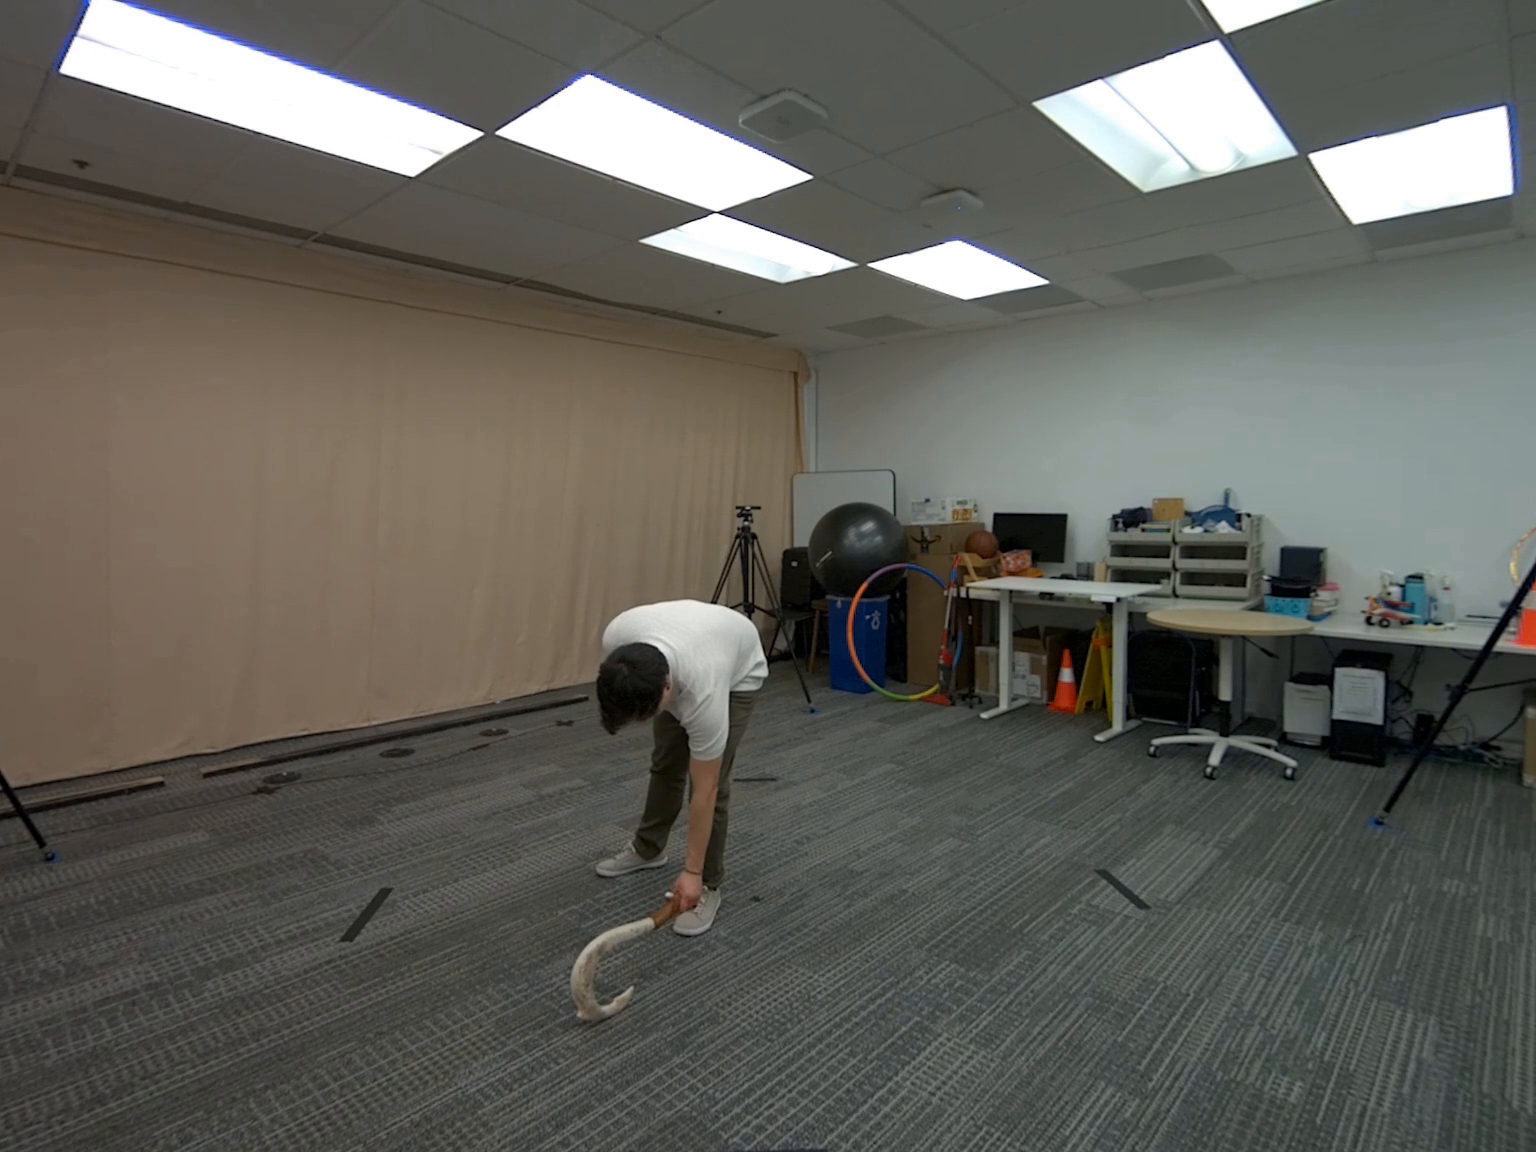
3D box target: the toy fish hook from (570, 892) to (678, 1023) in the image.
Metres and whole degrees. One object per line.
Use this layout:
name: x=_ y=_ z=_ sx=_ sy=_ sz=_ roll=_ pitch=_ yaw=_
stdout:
toy fish hook: x=-0.360 y=1.061 z=2.404 sx=0.050 sy=0.223 sz=0.494 roll=3 pitch=15 yaw=38
